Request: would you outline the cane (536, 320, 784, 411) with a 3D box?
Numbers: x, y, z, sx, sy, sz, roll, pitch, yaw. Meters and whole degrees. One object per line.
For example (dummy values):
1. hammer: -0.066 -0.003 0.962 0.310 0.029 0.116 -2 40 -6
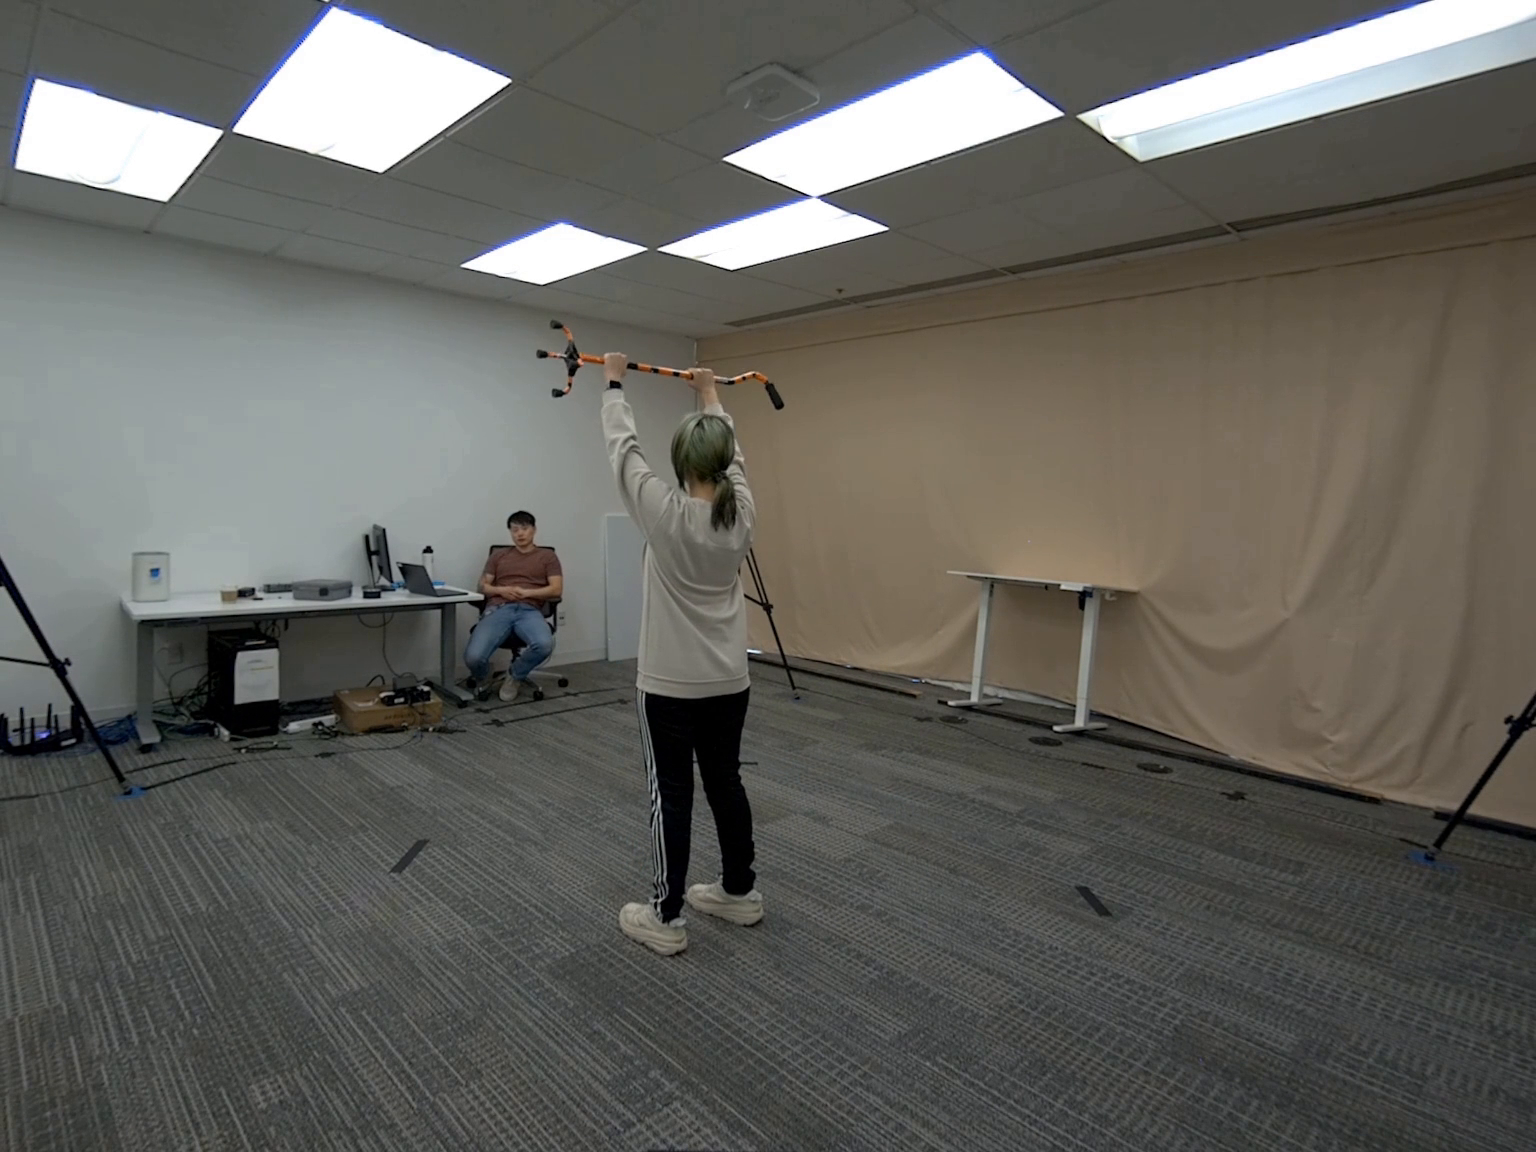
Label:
1. cane: -0.330 -0.687 2.898 0.887 0.211 0.151 -1 -34 -39
